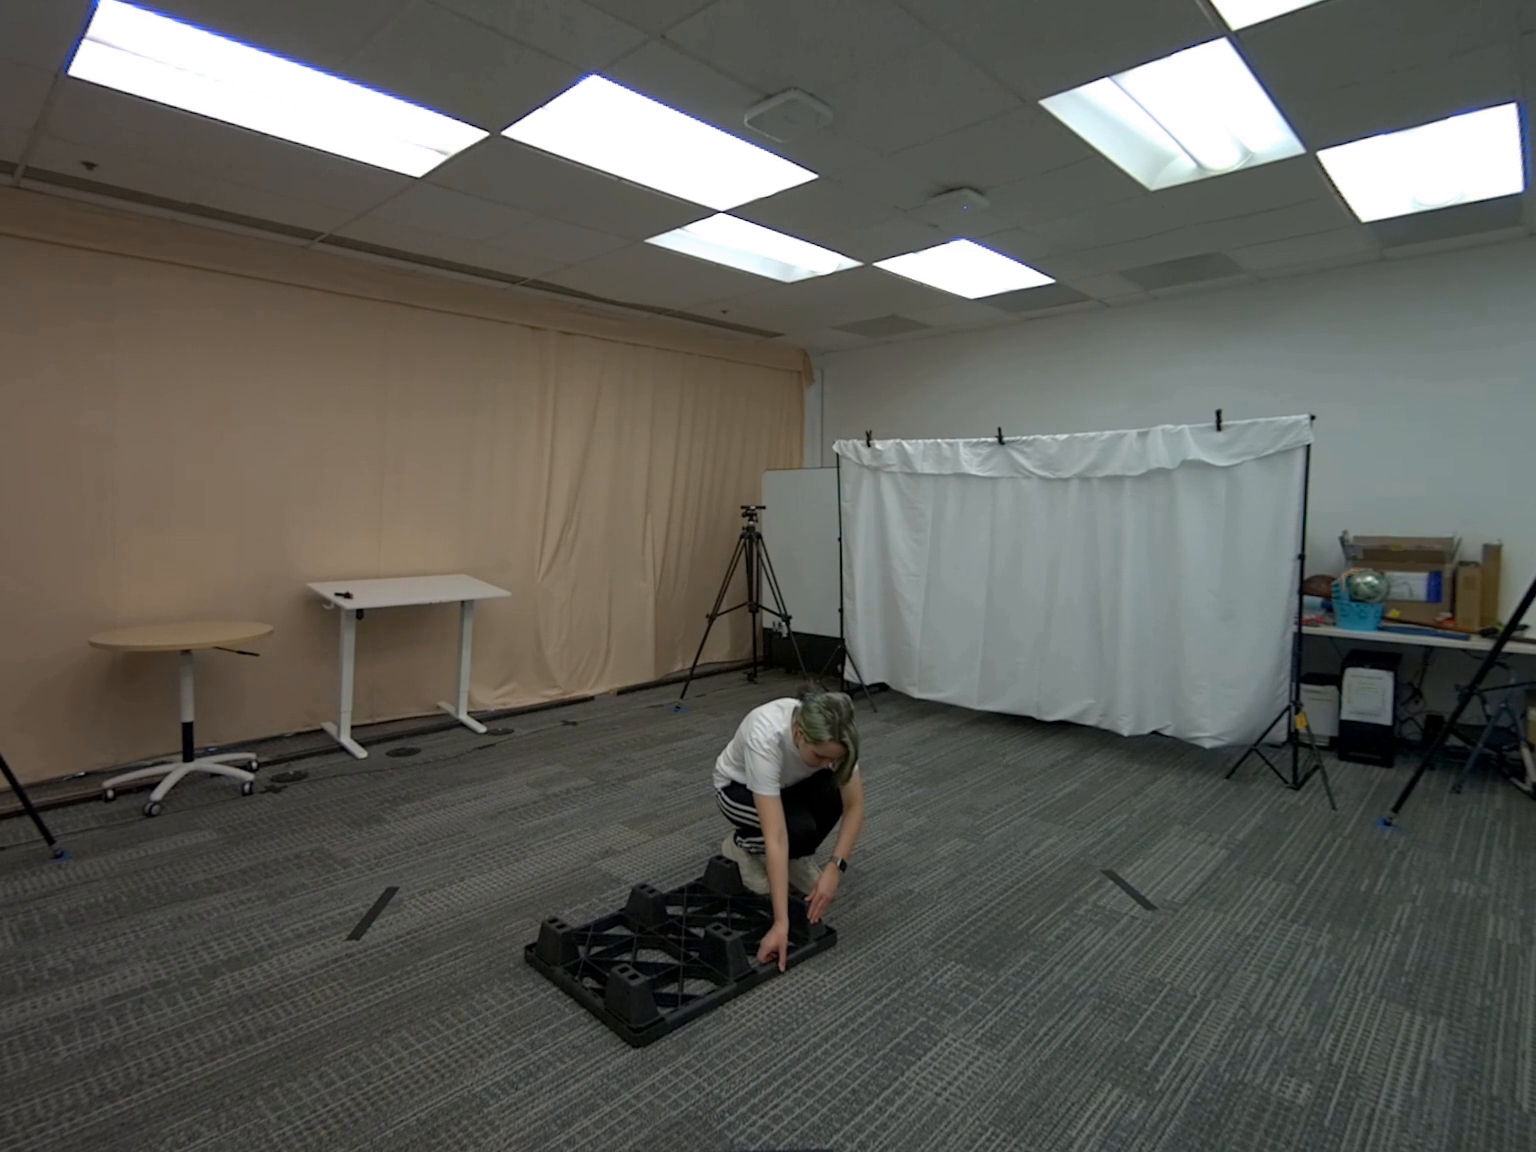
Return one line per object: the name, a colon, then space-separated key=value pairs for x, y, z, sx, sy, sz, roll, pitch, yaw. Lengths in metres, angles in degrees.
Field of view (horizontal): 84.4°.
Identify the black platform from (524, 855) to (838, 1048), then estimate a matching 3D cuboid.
black platform: x=-0.264 y=1.107 z=2.639 sx=0.781 sy=0.143 sz=0.626 roll=-4 pitch=7 yaw=-44
